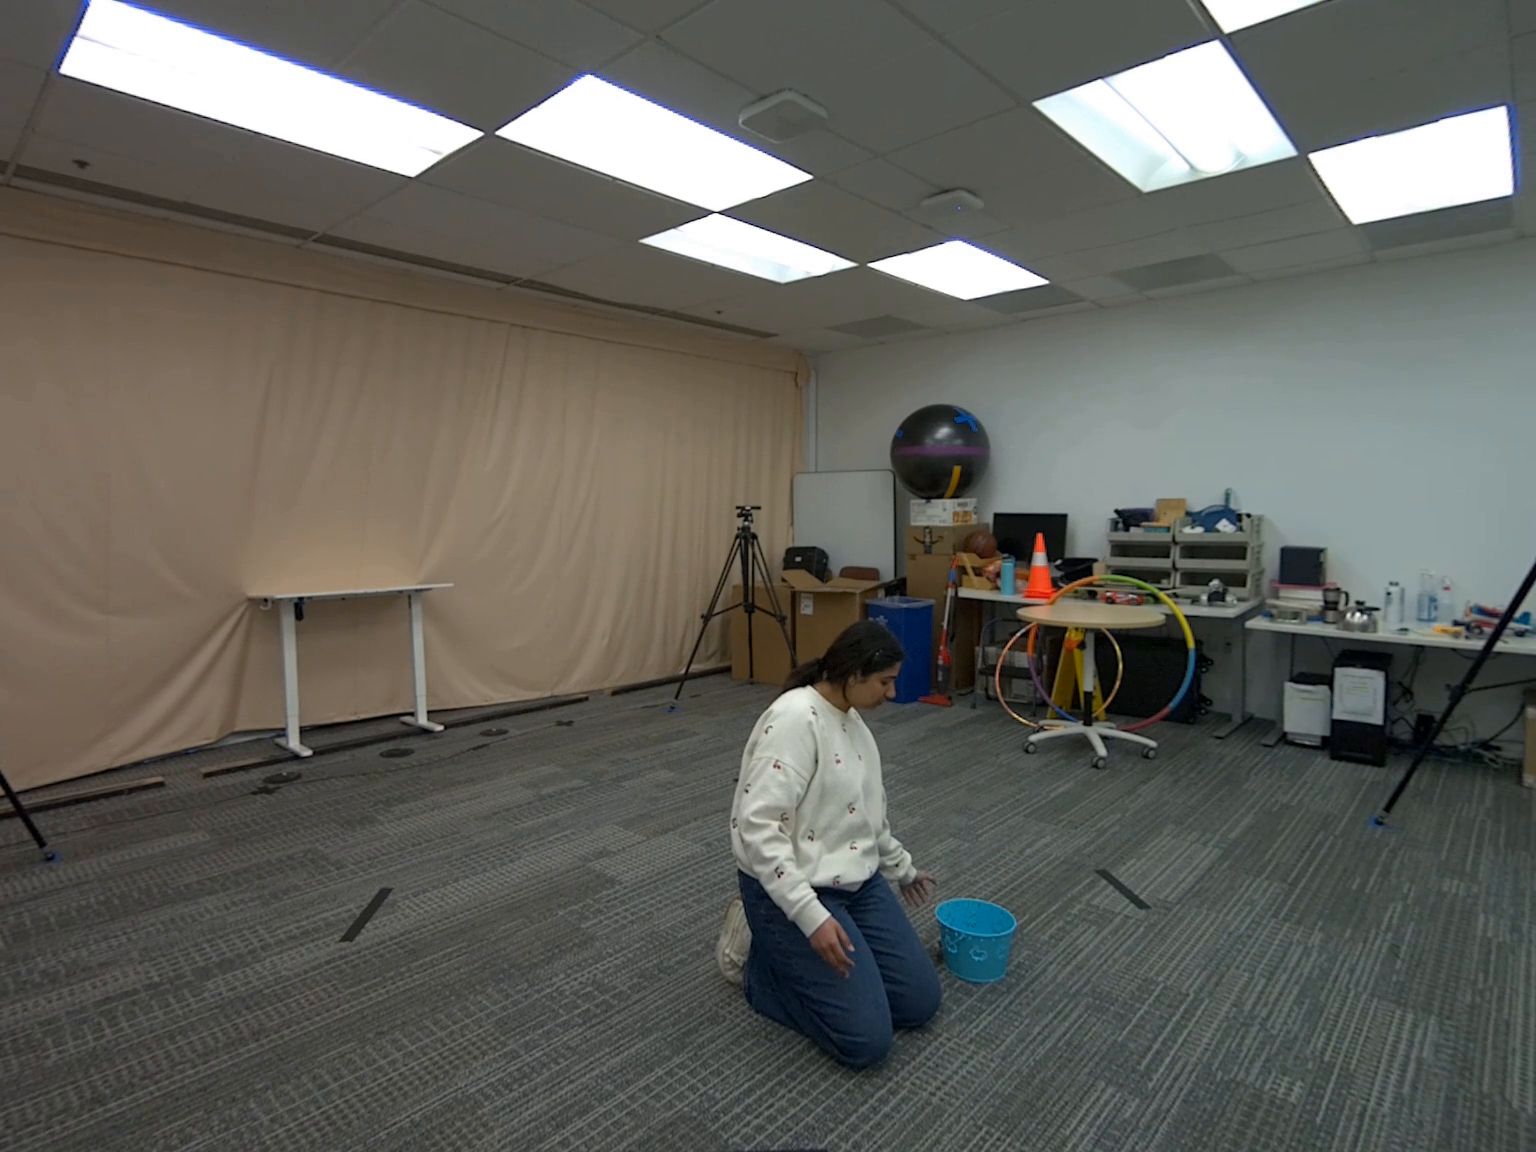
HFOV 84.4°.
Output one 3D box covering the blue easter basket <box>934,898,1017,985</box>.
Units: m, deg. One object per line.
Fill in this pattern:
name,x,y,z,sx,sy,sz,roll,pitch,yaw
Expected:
blue easter basket,0.627,1.098,2.540,0.243,0.155,0.244,0,3,-2
